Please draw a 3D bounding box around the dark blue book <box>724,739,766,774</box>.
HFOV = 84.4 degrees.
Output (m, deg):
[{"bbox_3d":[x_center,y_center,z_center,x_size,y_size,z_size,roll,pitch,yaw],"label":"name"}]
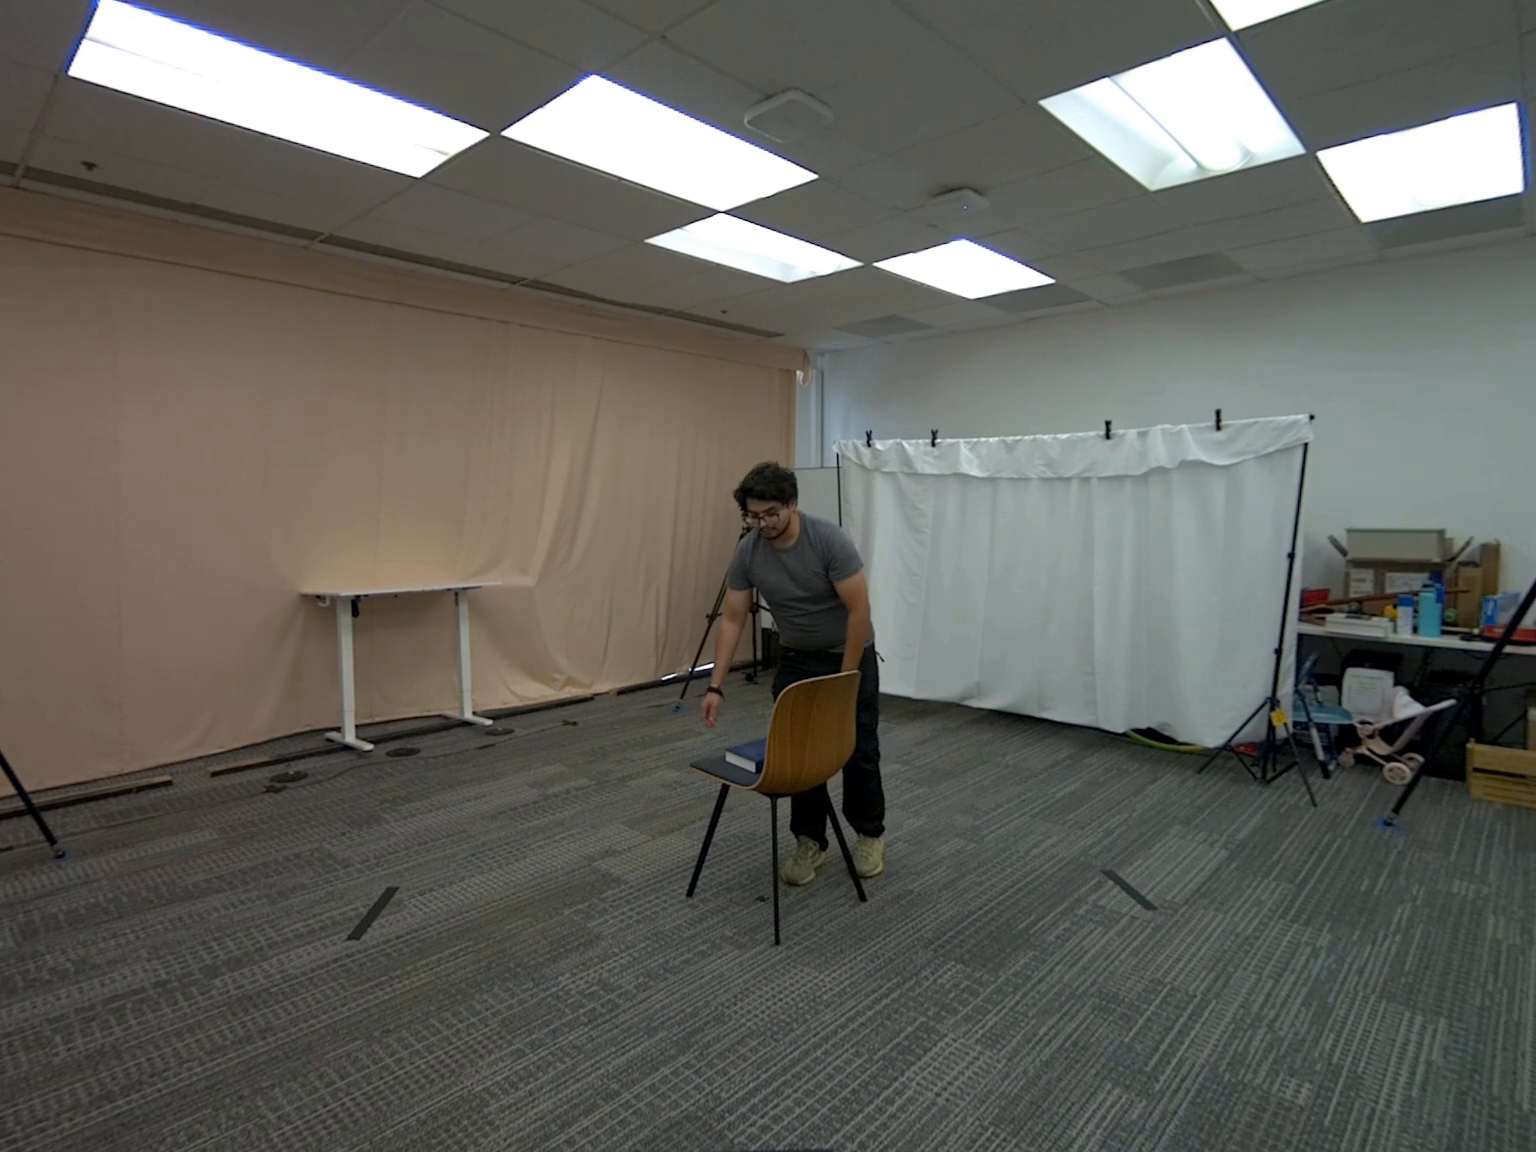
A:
[{"bbox_3d":[-0.006,0.631,3.008,0.238,0.045,0.169,-7,10,-43],"label":"dark blue book"}]
